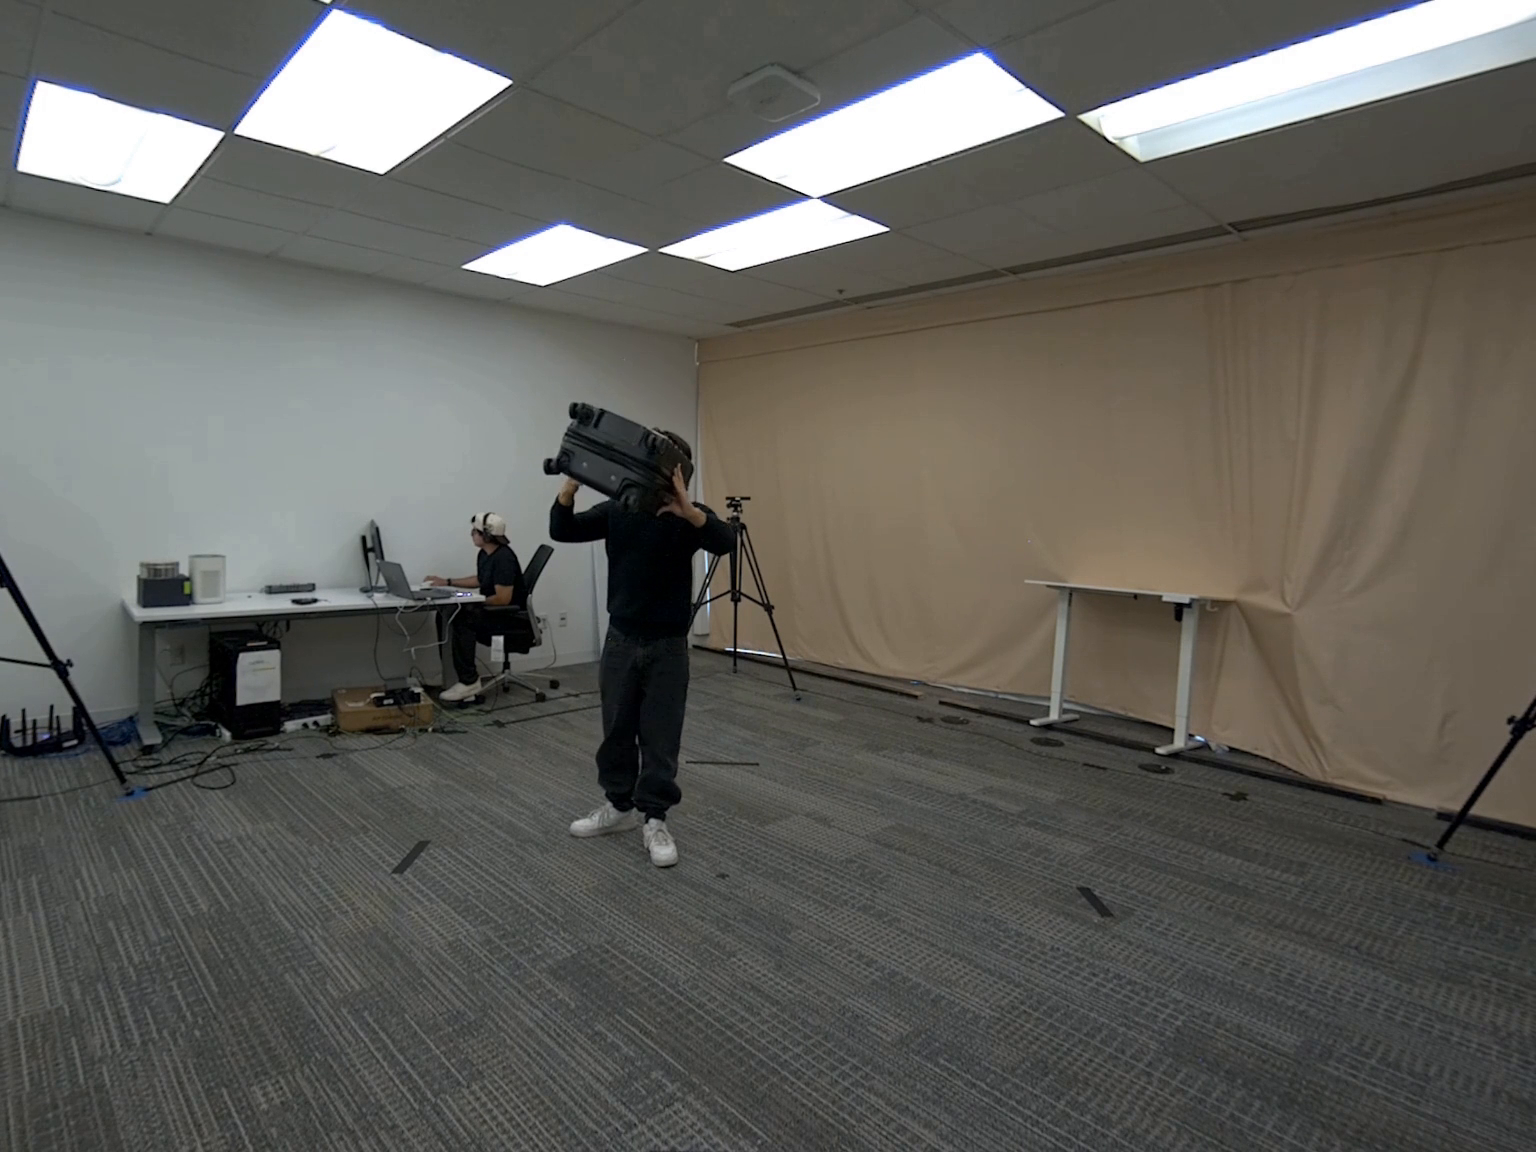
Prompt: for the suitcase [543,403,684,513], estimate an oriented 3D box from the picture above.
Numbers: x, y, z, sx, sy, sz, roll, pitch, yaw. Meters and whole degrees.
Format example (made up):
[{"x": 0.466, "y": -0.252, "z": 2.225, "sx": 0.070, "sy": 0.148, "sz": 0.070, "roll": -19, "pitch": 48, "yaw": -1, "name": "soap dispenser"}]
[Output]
[{"x": -0.504, "y": -0.382, "z": 2.922, "sx": 0.379, "sy": 0.248, "sz": 0.545, "roll": 23, "pitch": 2, "yaw": 7, "name": "suitcase"}]
